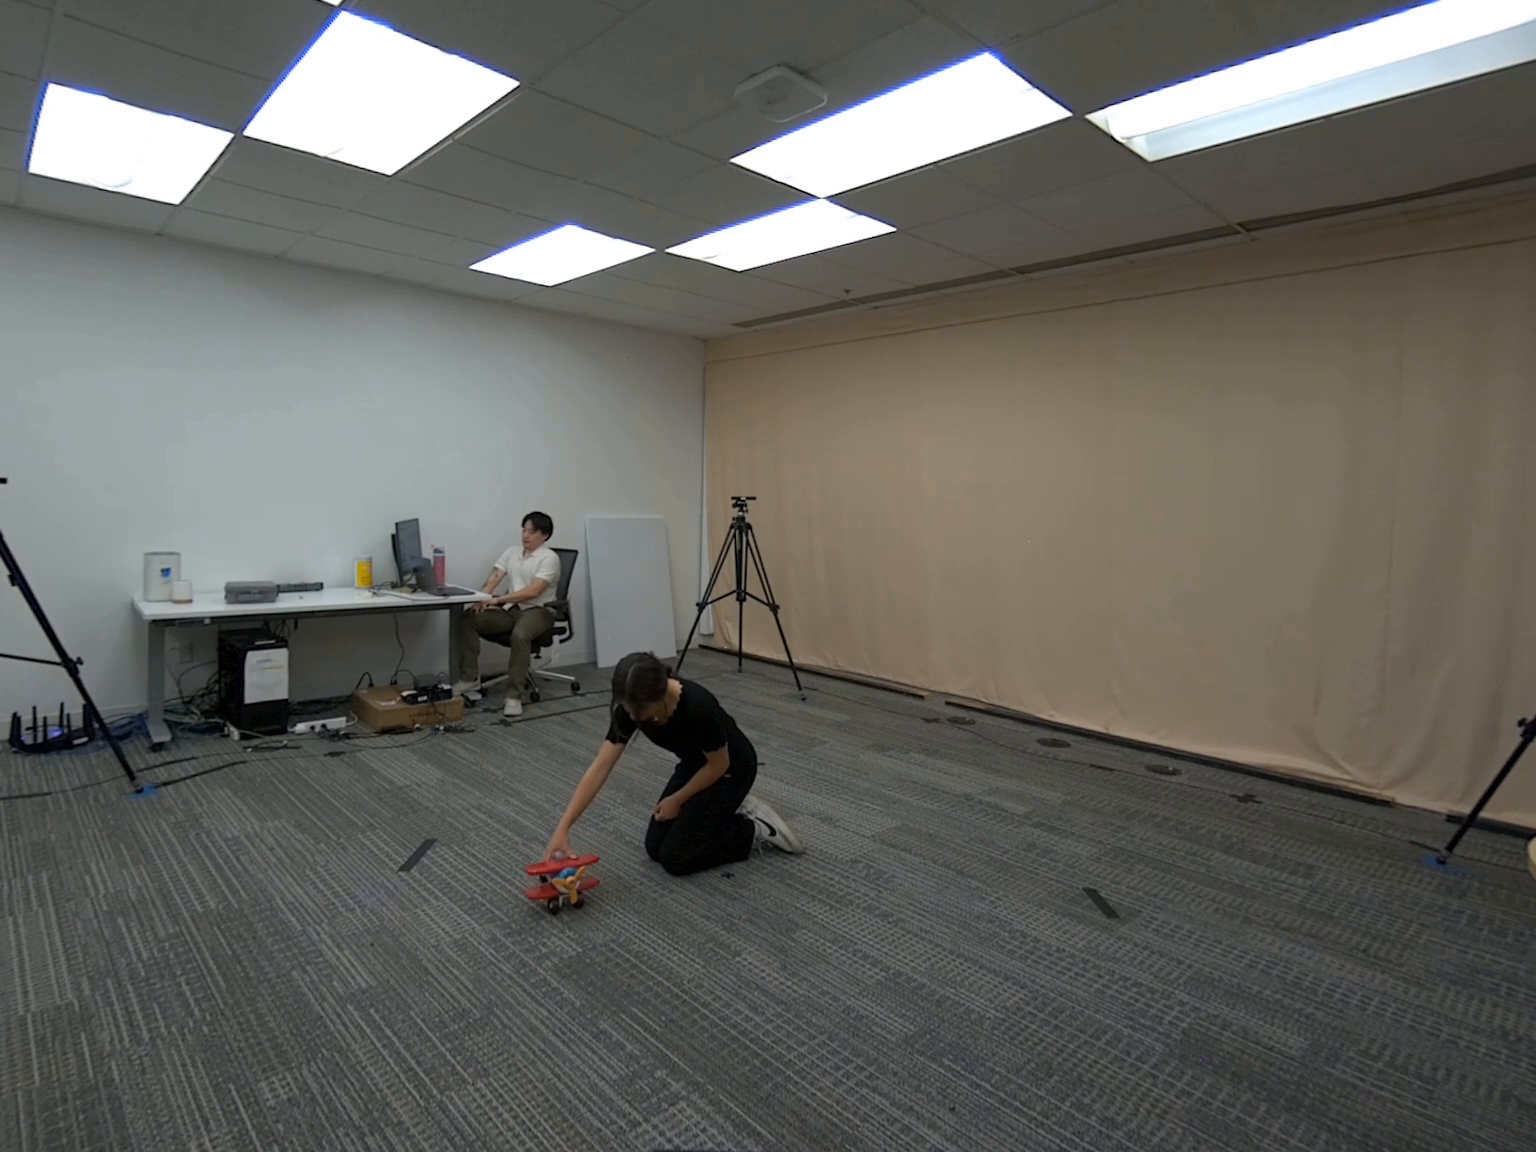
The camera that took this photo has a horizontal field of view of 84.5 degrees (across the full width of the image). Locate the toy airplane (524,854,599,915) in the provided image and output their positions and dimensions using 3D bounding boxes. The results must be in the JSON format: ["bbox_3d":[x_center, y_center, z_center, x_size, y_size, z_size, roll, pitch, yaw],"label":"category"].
[{"bbox_3d":[-0.737,1.031,2.864,0.266,0.155,0.247,14,14,30],"label":"toy airplane"}]
